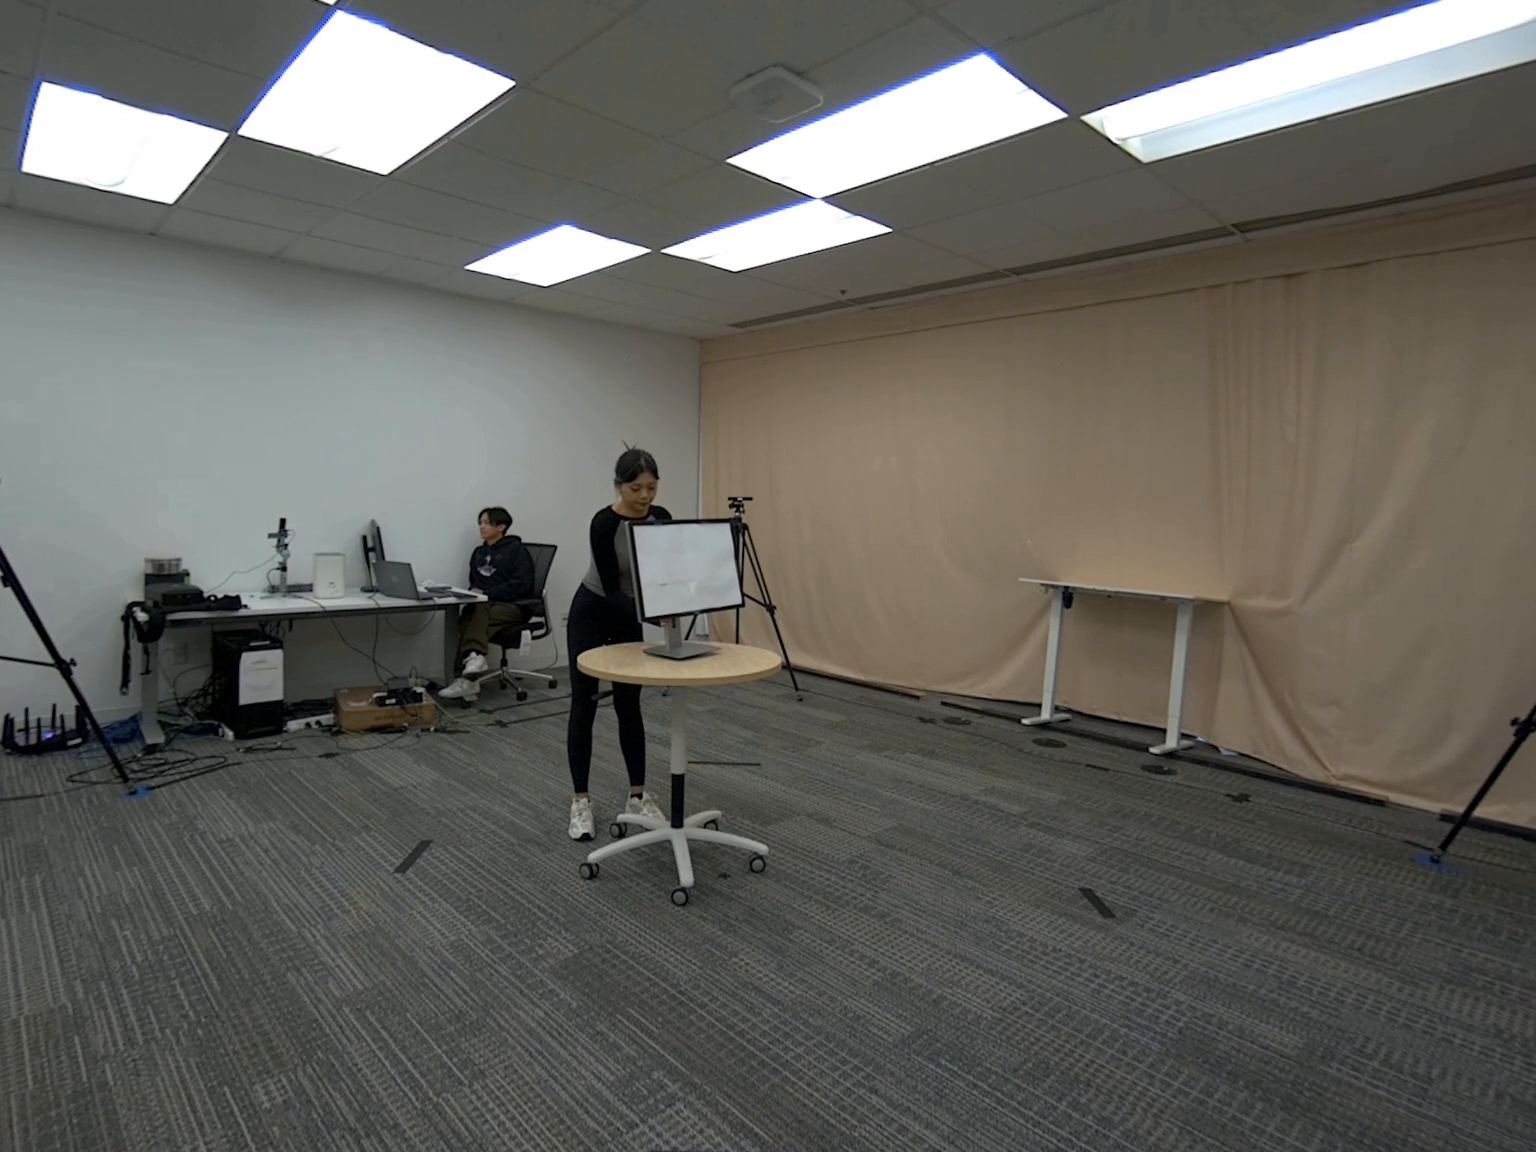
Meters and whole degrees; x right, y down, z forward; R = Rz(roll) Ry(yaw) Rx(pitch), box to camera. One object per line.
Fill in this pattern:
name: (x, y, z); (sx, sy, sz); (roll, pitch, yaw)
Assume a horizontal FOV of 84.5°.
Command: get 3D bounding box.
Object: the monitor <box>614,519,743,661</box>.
monitor: (-0.332, 0.045, 3.212); (0.179, 0.513, 0.518); (12, 10, 38)
